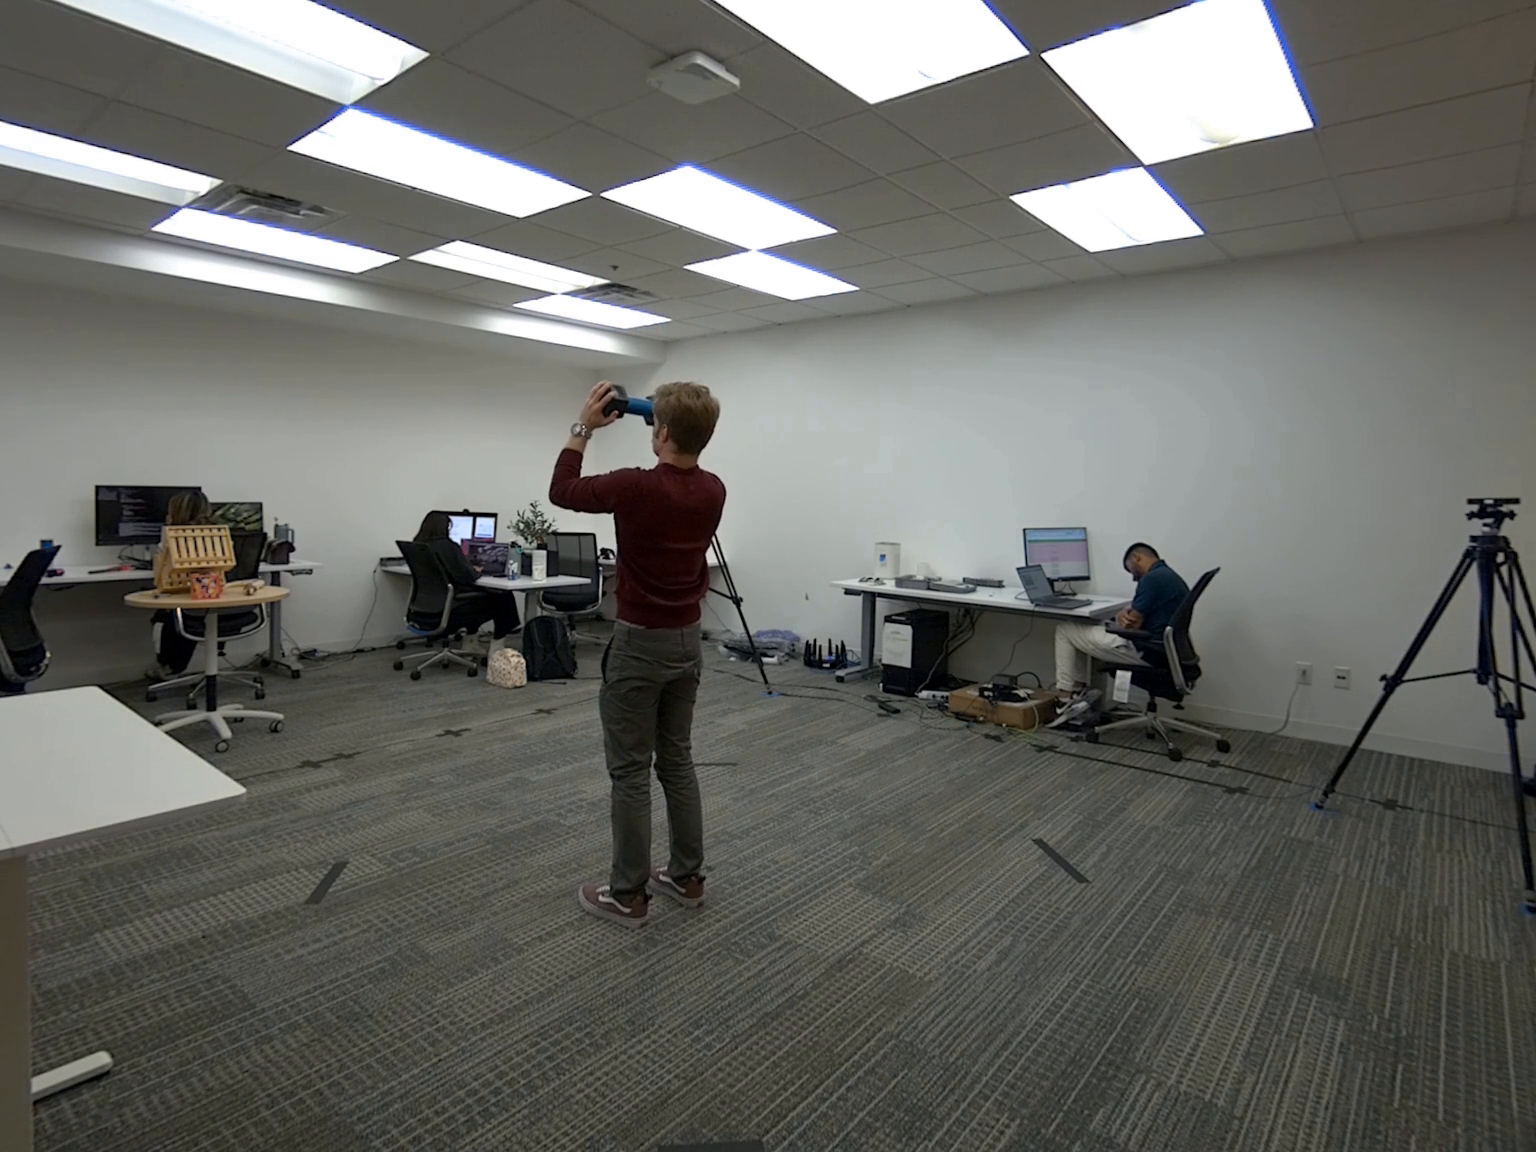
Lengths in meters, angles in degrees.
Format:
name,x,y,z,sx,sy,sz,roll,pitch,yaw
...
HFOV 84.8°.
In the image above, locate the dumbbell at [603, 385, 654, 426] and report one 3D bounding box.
name,x,y,z,sx,sy,sz,roll,pitch,yaw
dumbbell,-0.451,-0.578,2.868,0.284,0.122,0.113,2,31,-46
